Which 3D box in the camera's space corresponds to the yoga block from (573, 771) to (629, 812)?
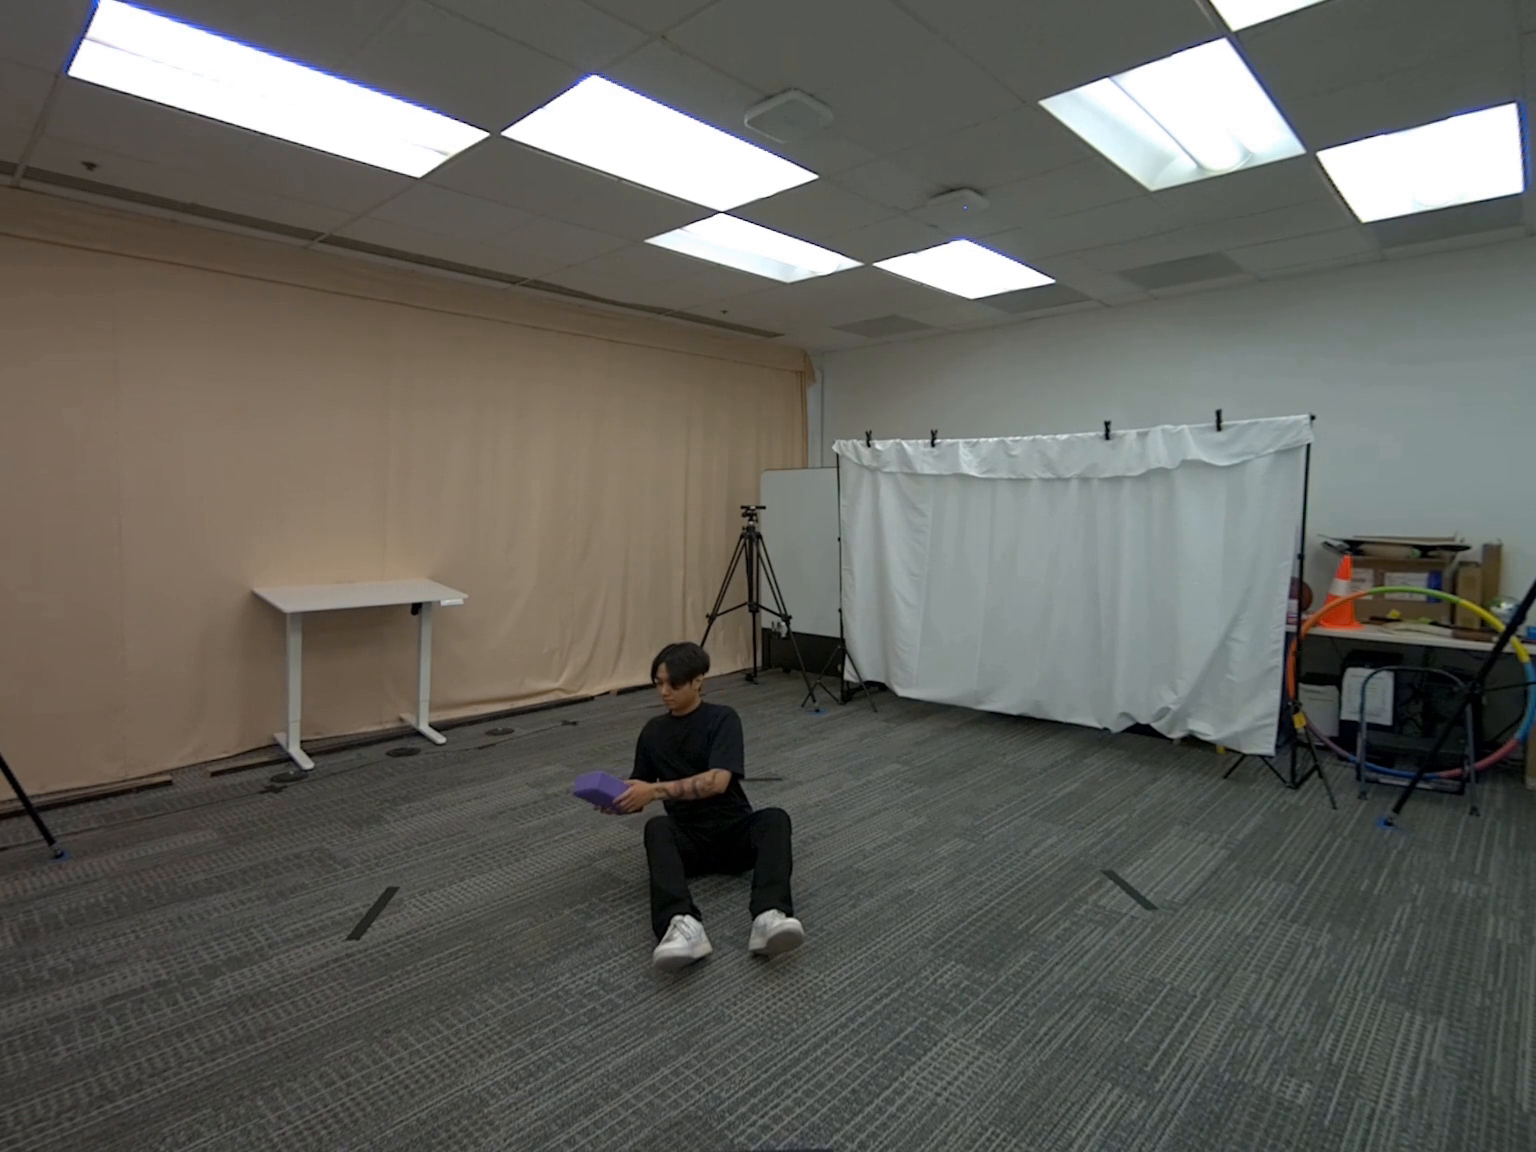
[{"bbox_3d":[-0.573,0.789,3.070,0.152,0.077,0.222,-21,-43,41],"label":"yoga block"}]
